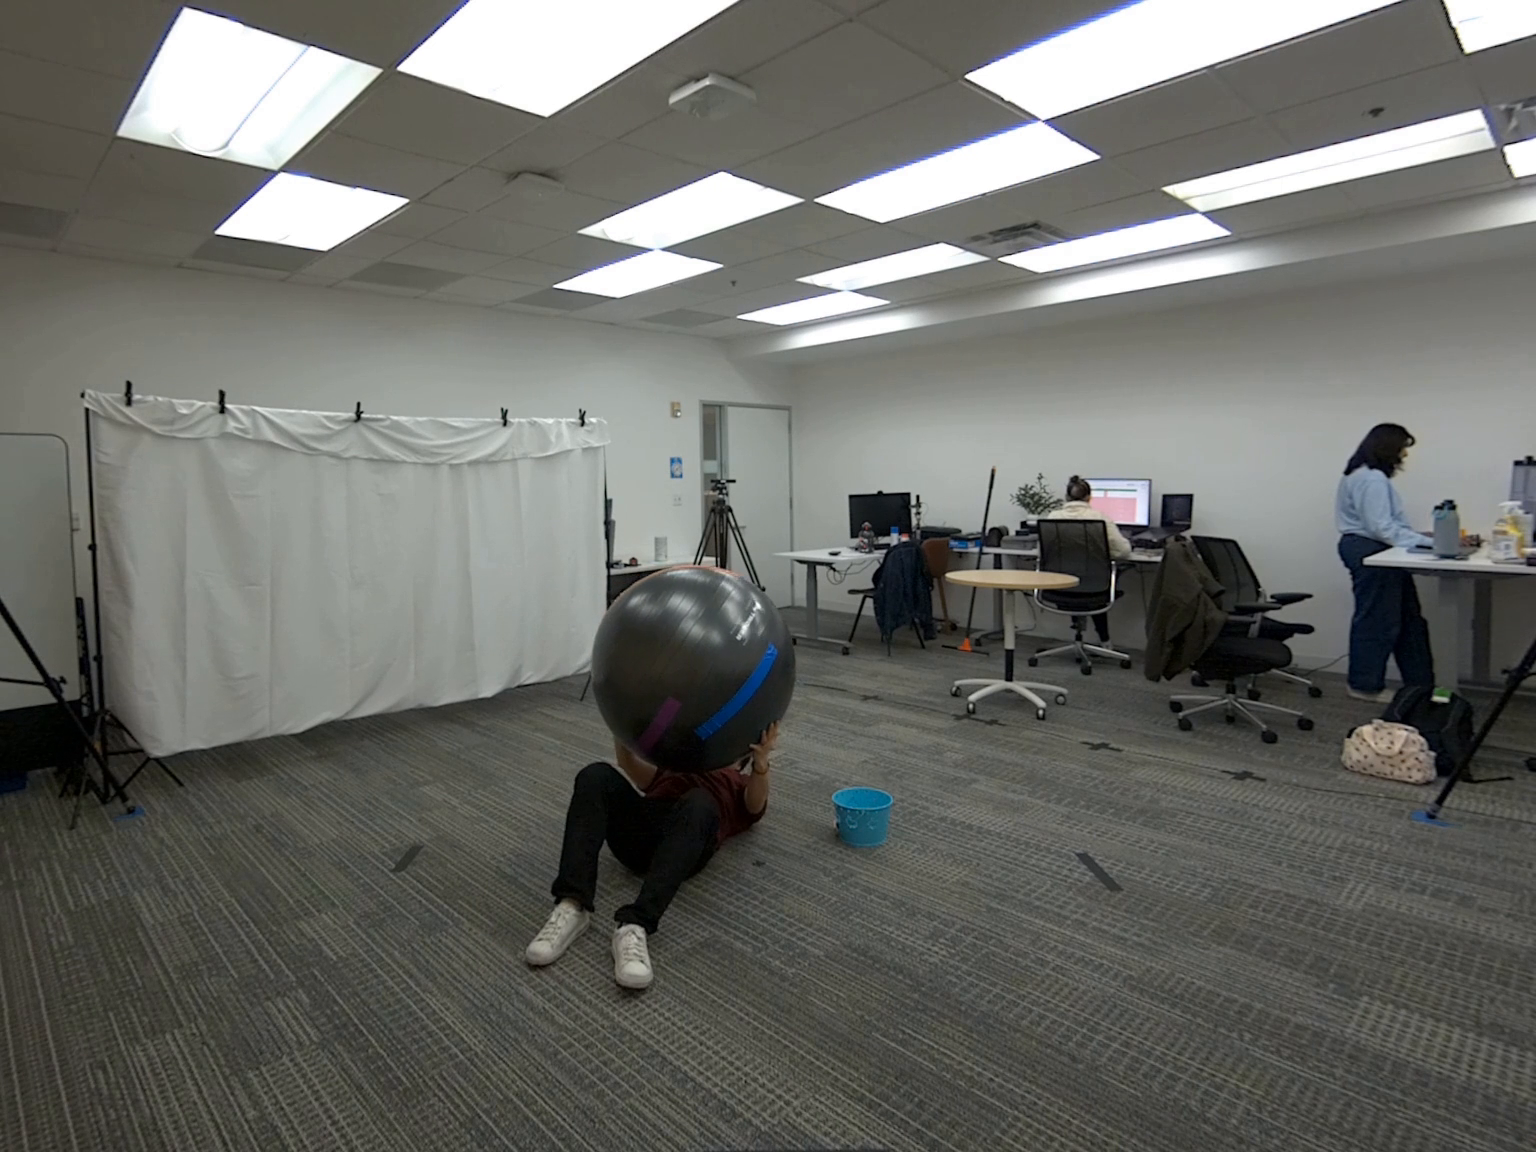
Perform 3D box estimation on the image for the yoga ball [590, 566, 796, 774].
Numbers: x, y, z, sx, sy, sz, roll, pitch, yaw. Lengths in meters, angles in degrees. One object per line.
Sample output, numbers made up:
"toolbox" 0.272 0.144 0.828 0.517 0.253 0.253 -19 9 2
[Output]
"yoga ball" -0.278 0.345 3.179 0.757 0.755 0.762 -1 5 -2
